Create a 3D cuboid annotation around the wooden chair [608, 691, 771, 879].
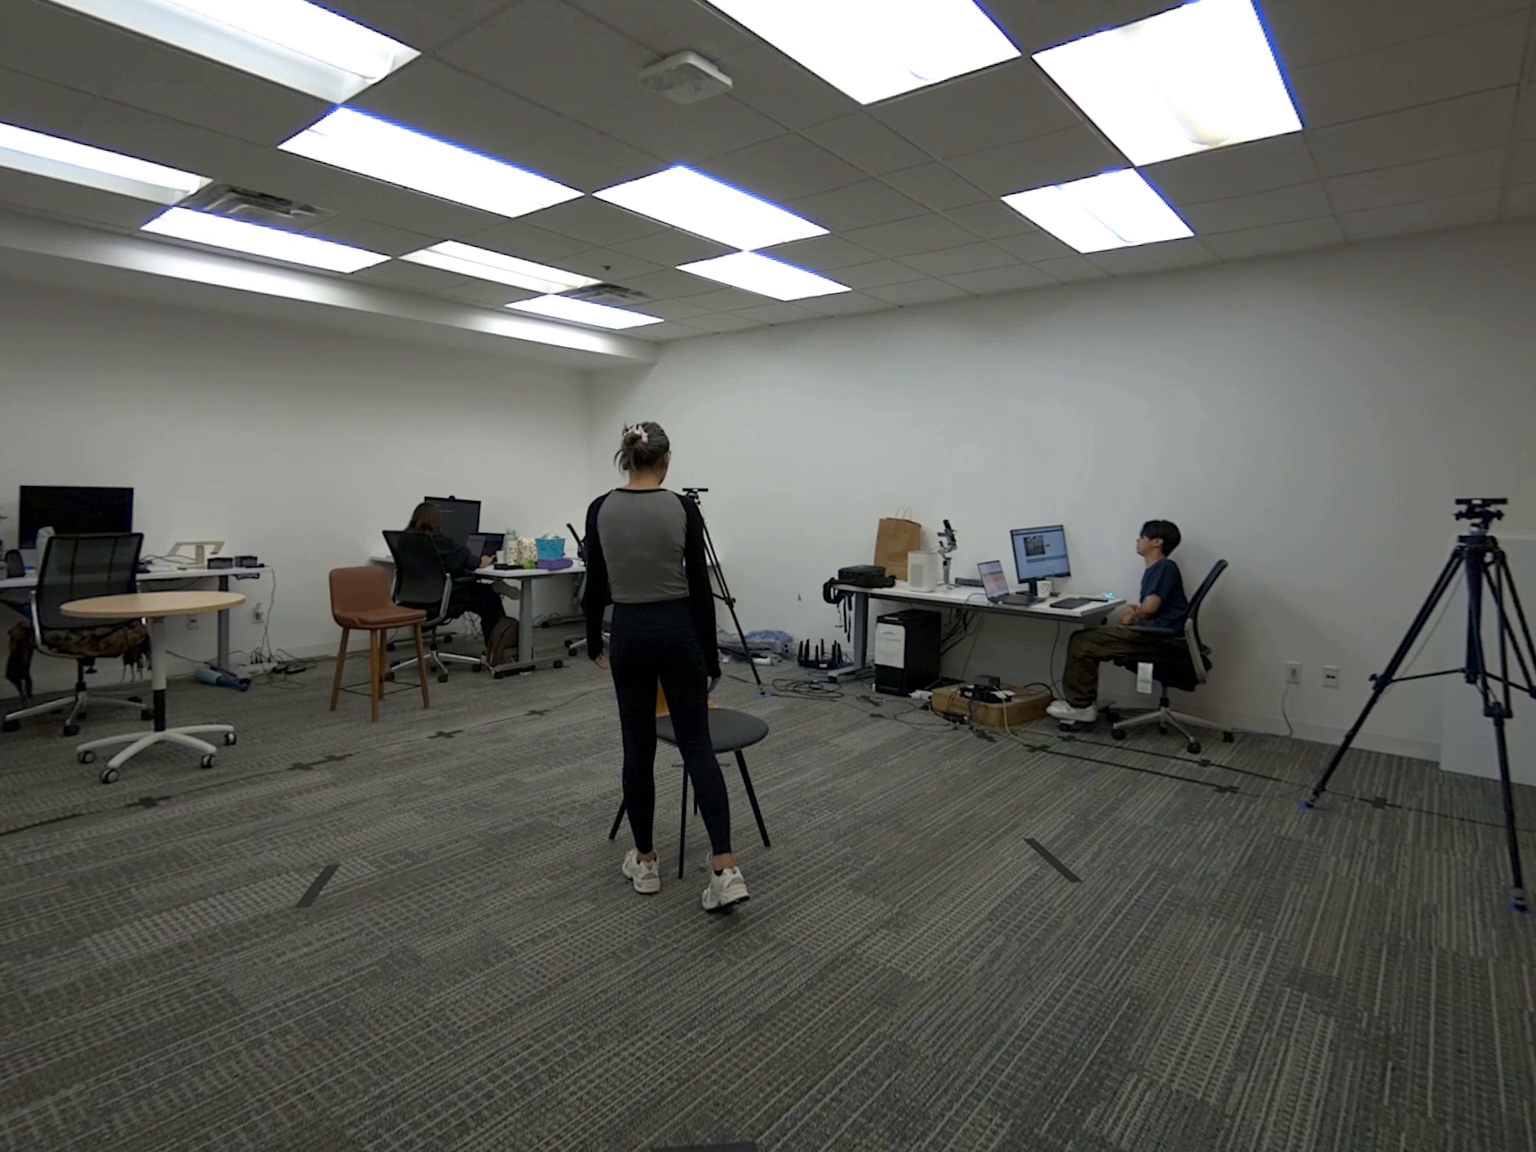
[{"bbox_3d":[-0.303,0.619,3.310,0.463,0.878,0.539,-1,0,-43],"label":"wooden chair"}]
